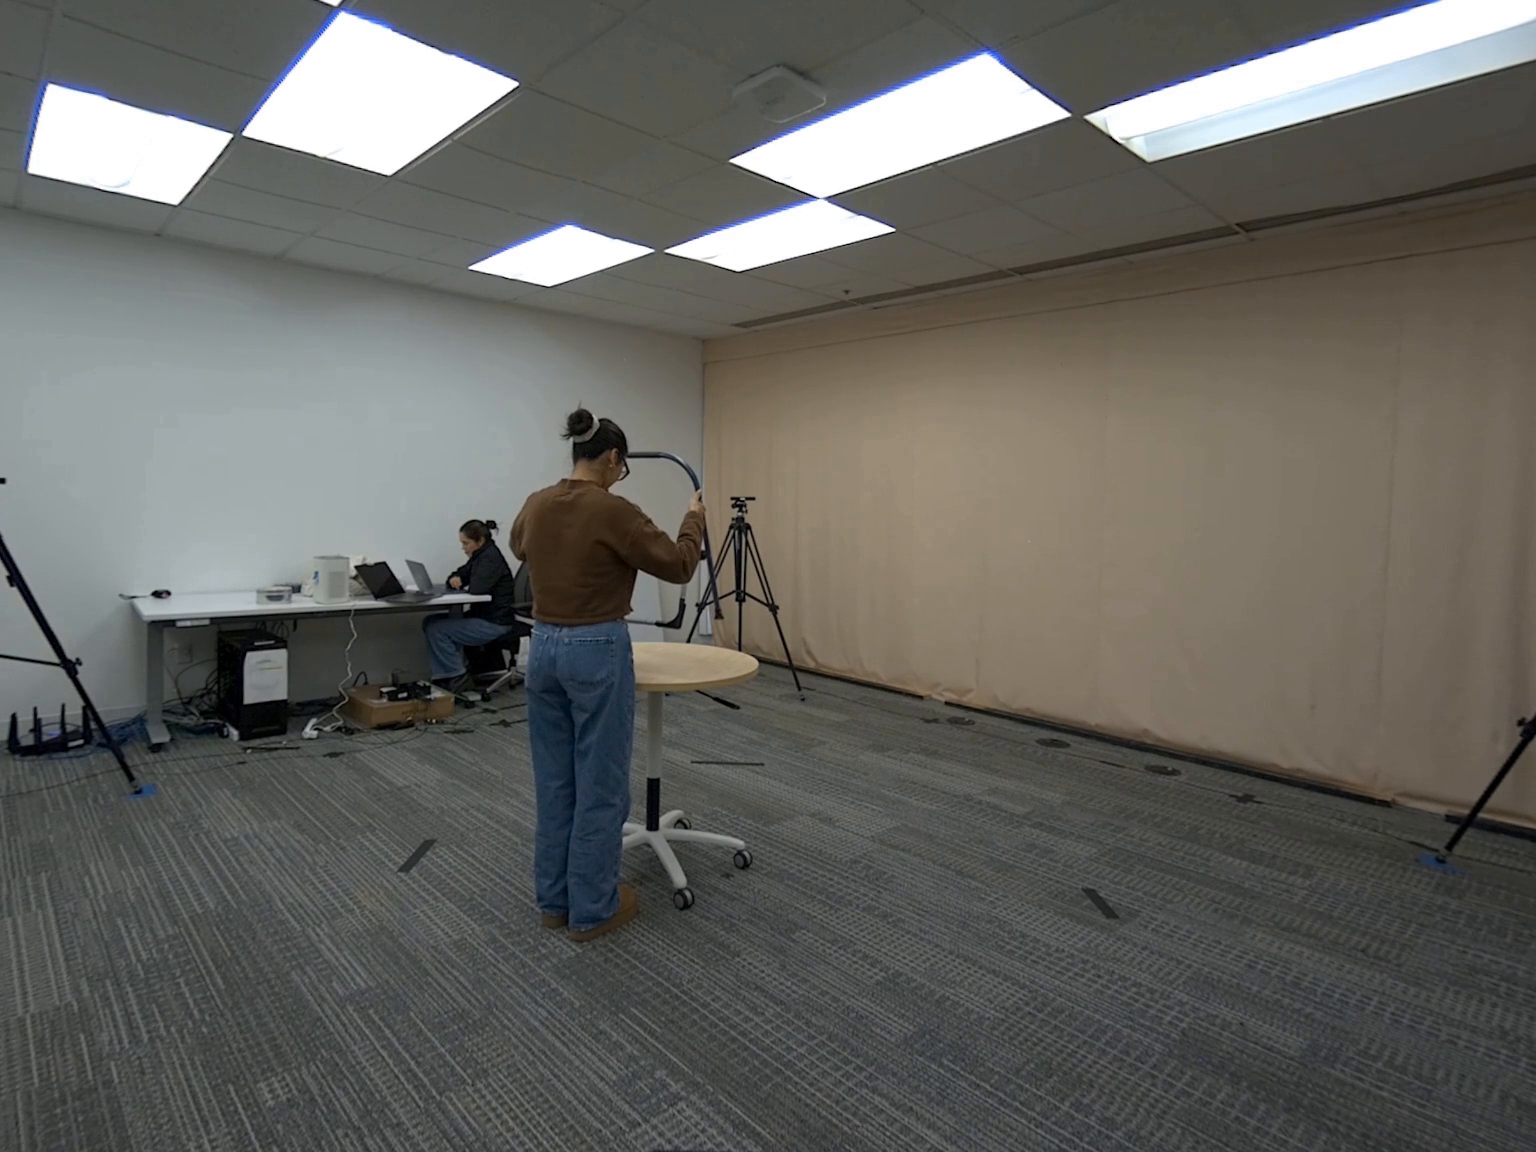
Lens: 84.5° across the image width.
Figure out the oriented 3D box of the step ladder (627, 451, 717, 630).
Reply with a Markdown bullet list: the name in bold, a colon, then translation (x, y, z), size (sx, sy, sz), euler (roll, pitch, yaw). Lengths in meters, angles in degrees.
- **step ladder**: translation (-0.426, -0.138, 3.056), size (0.439, 0.604, 0.343), euler (4, 4, 24)
